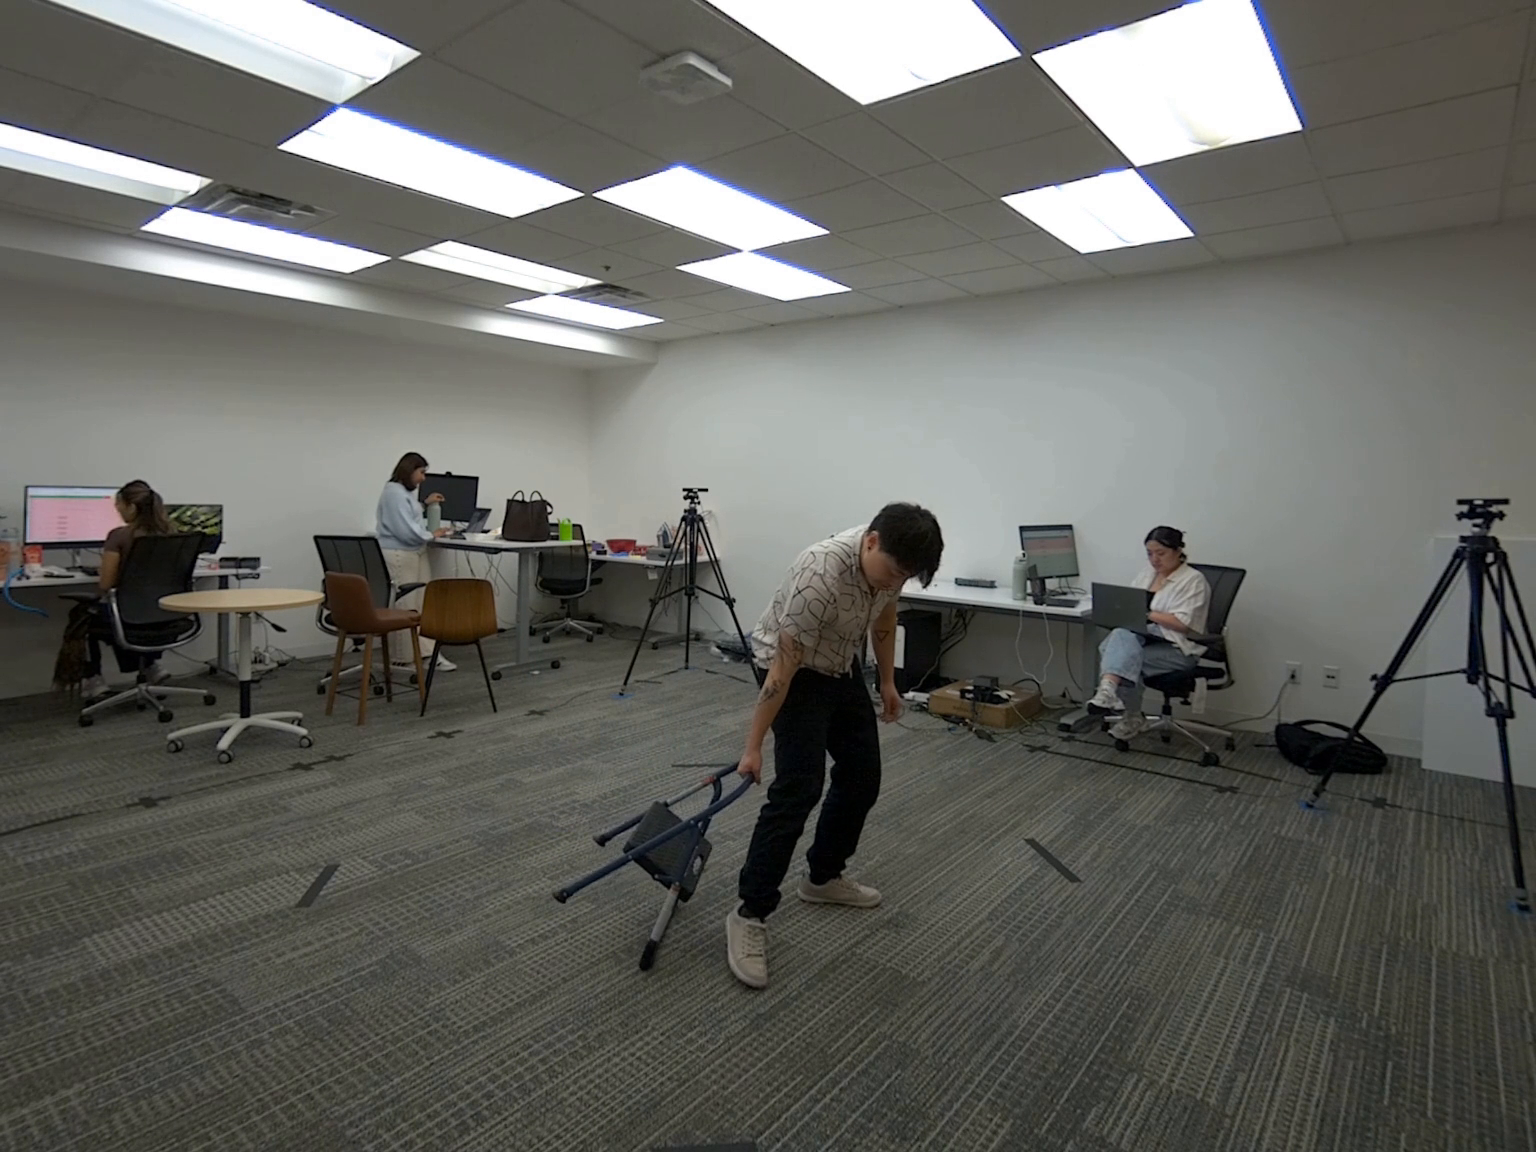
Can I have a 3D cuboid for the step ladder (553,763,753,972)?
[{"bbox_3d":[-0.291,0.785,2.613,0.351,0.605,0.429,38,8,2],"label":"step ladder"}]
